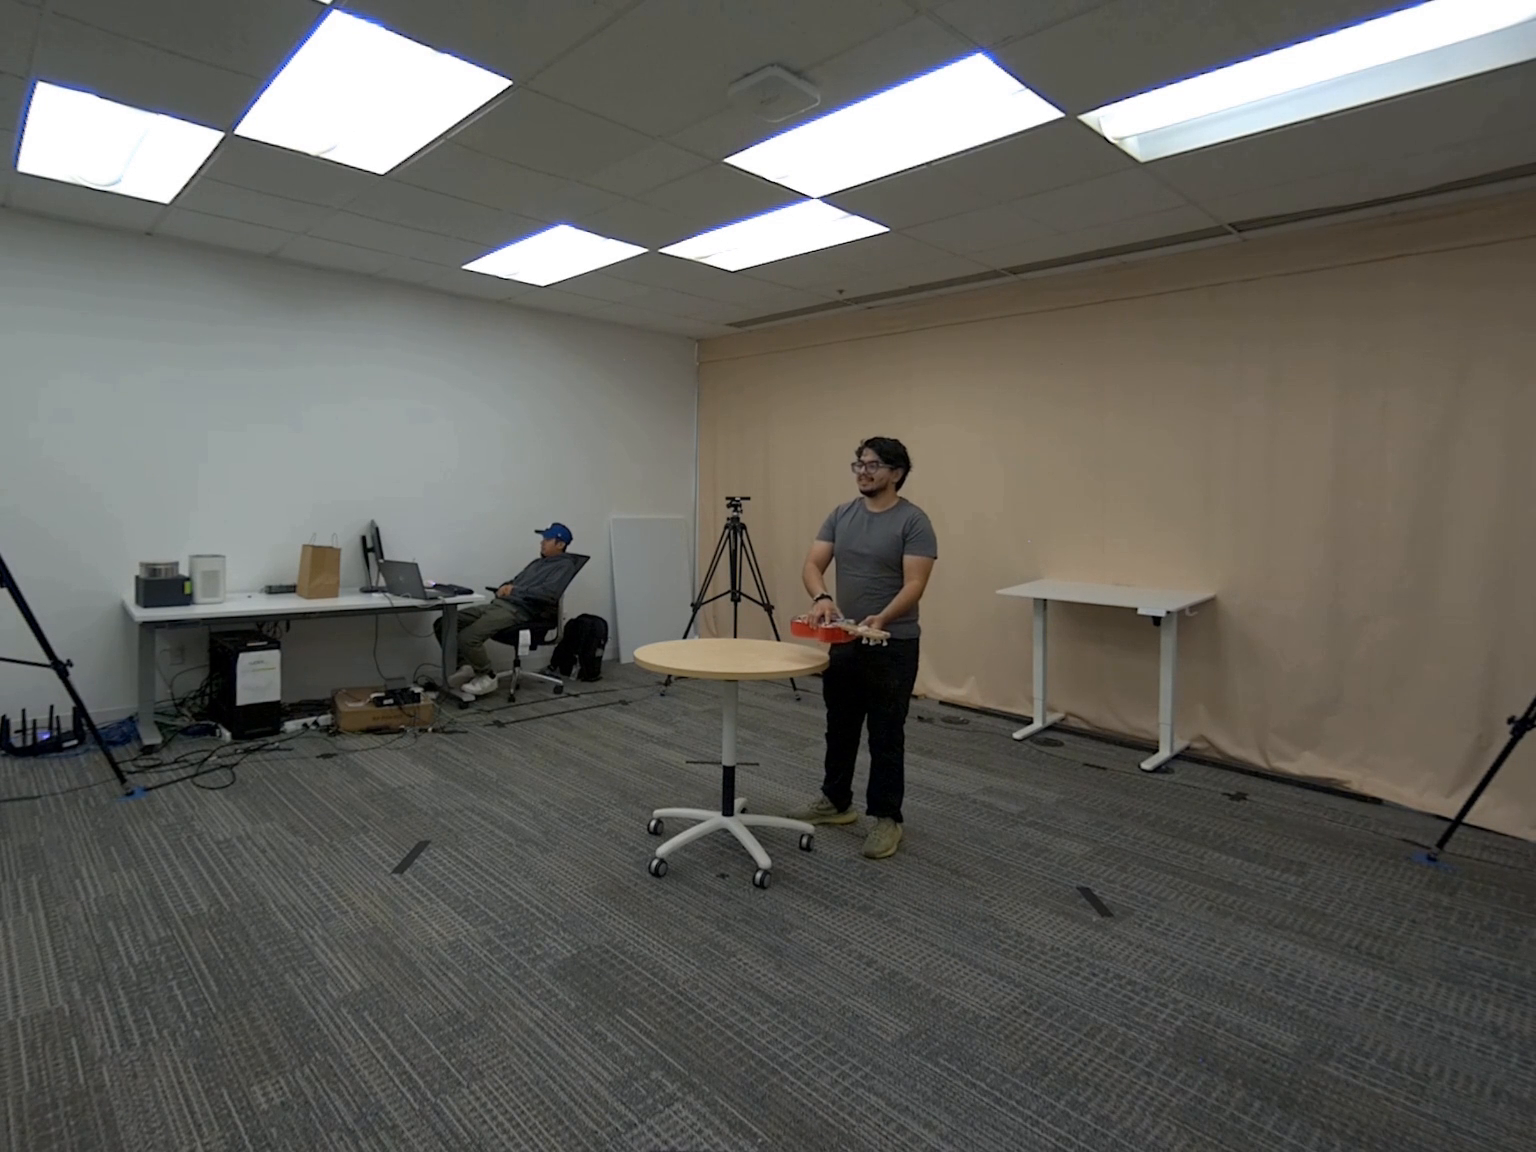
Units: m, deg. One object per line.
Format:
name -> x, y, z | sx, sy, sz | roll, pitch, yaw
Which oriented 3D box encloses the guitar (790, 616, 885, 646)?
guitar -> 0.212, 0.212, 3.048 | 0.192, 0.070, 0.505 | -8, 10, -10
